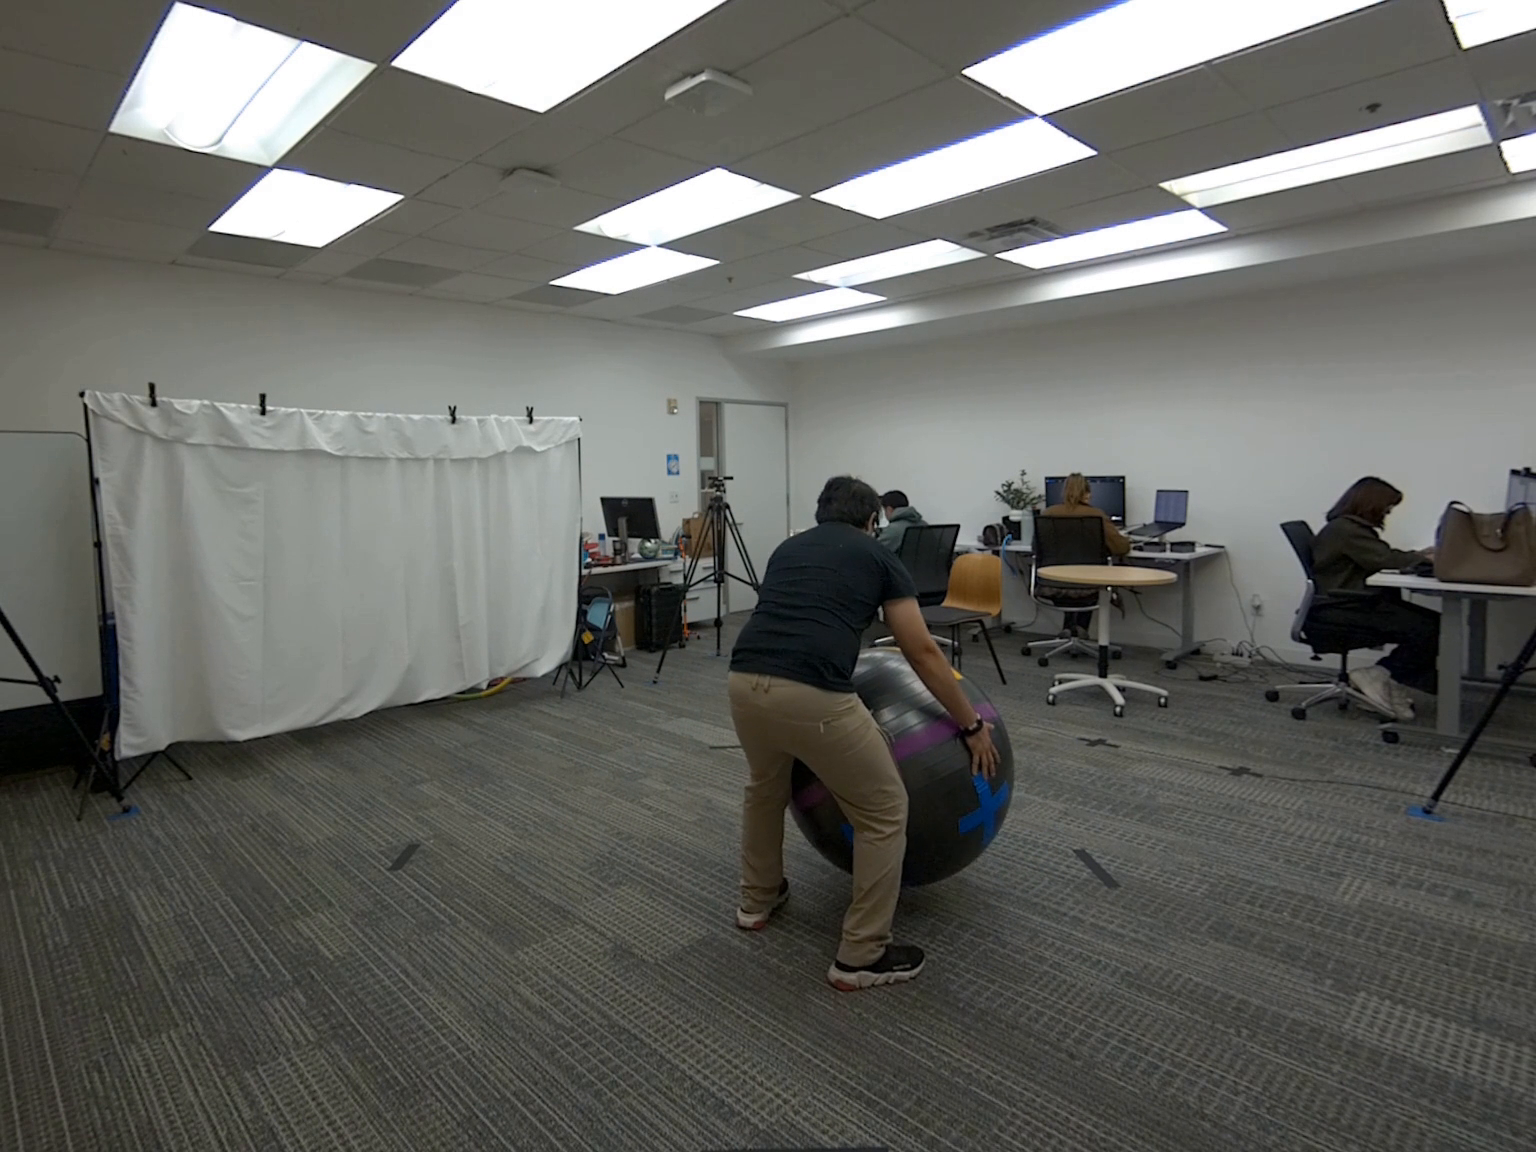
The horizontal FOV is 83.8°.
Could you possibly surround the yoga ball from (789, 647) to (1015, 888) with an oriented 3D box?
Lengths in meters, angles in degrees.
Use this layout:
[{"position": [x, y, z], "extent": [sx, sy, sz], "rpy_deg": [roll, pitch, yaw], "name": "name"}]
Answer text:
[{"position": [0.426, 0.623, 2.839], "extent": [0.757, 0.755, 0.762], "rpy_deg": [-1, 5, -2], "name": "yoga ball"}]
